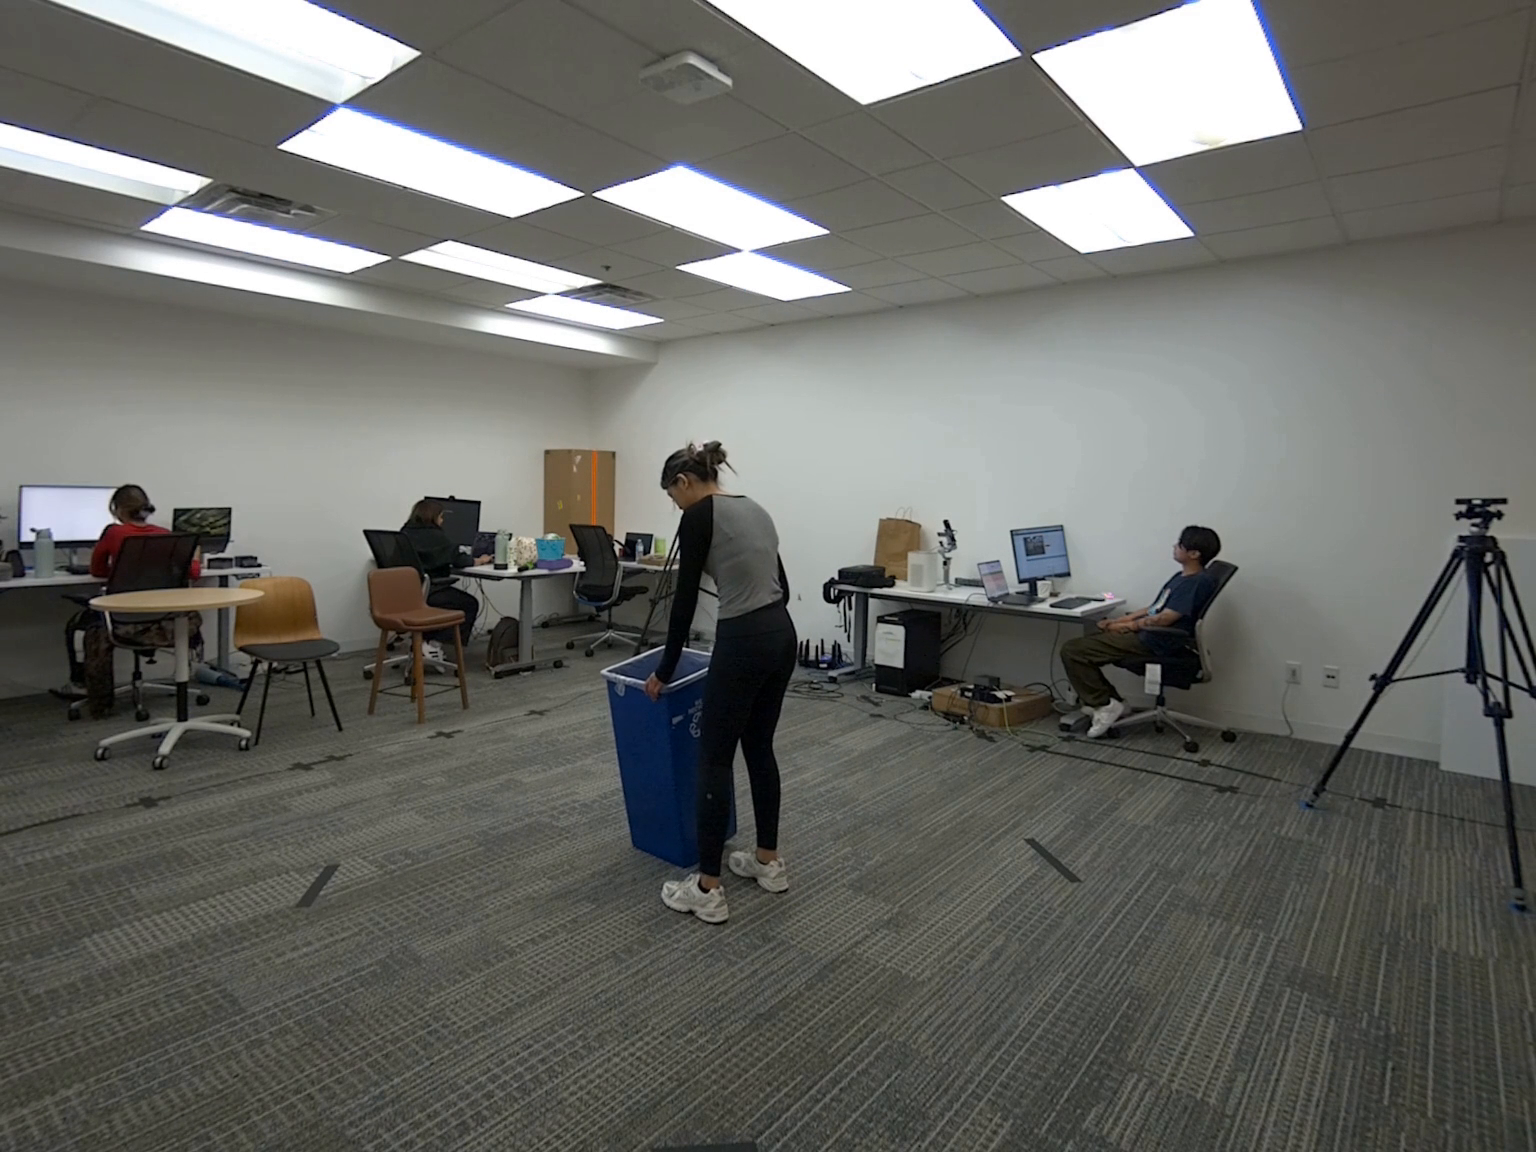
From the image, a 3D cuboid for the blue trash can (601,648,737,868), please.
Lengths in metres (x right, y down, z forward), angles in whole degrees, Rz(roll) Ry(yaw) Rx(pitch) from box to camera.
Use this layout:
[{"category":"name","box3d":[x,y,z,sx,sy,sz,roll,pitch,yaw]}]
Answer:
[{"category":"blue trash can","box3d":[-0.365,0.675,3.254,0.391,0.705,0.366,5,15,41]}]
